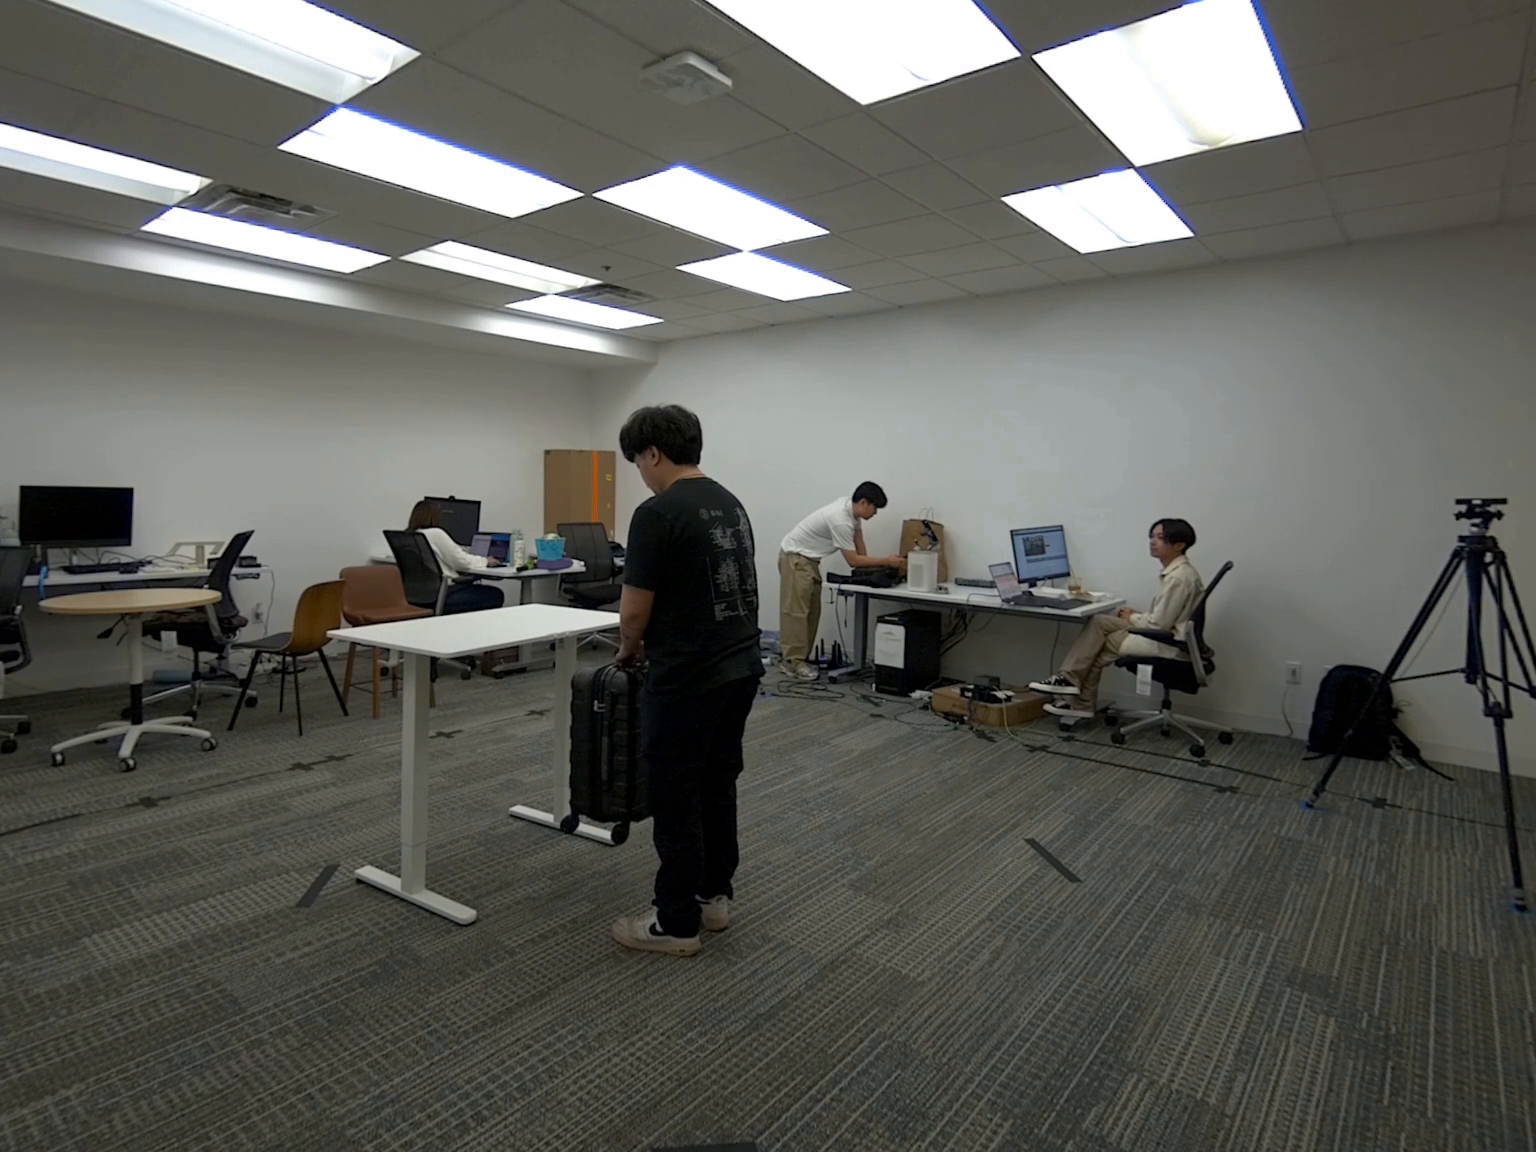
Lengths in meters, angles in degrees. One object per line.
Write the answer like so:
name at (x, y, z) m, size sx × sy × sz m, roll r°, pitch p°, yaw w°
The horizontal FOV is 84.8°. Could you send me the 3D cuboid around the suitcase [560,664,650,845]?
suitcase at (-0.479, 0.561, 2.858) m, size 0.255 × 0.550 × 0.365 m, roll -1°, pitch 0°, yaw 27°
